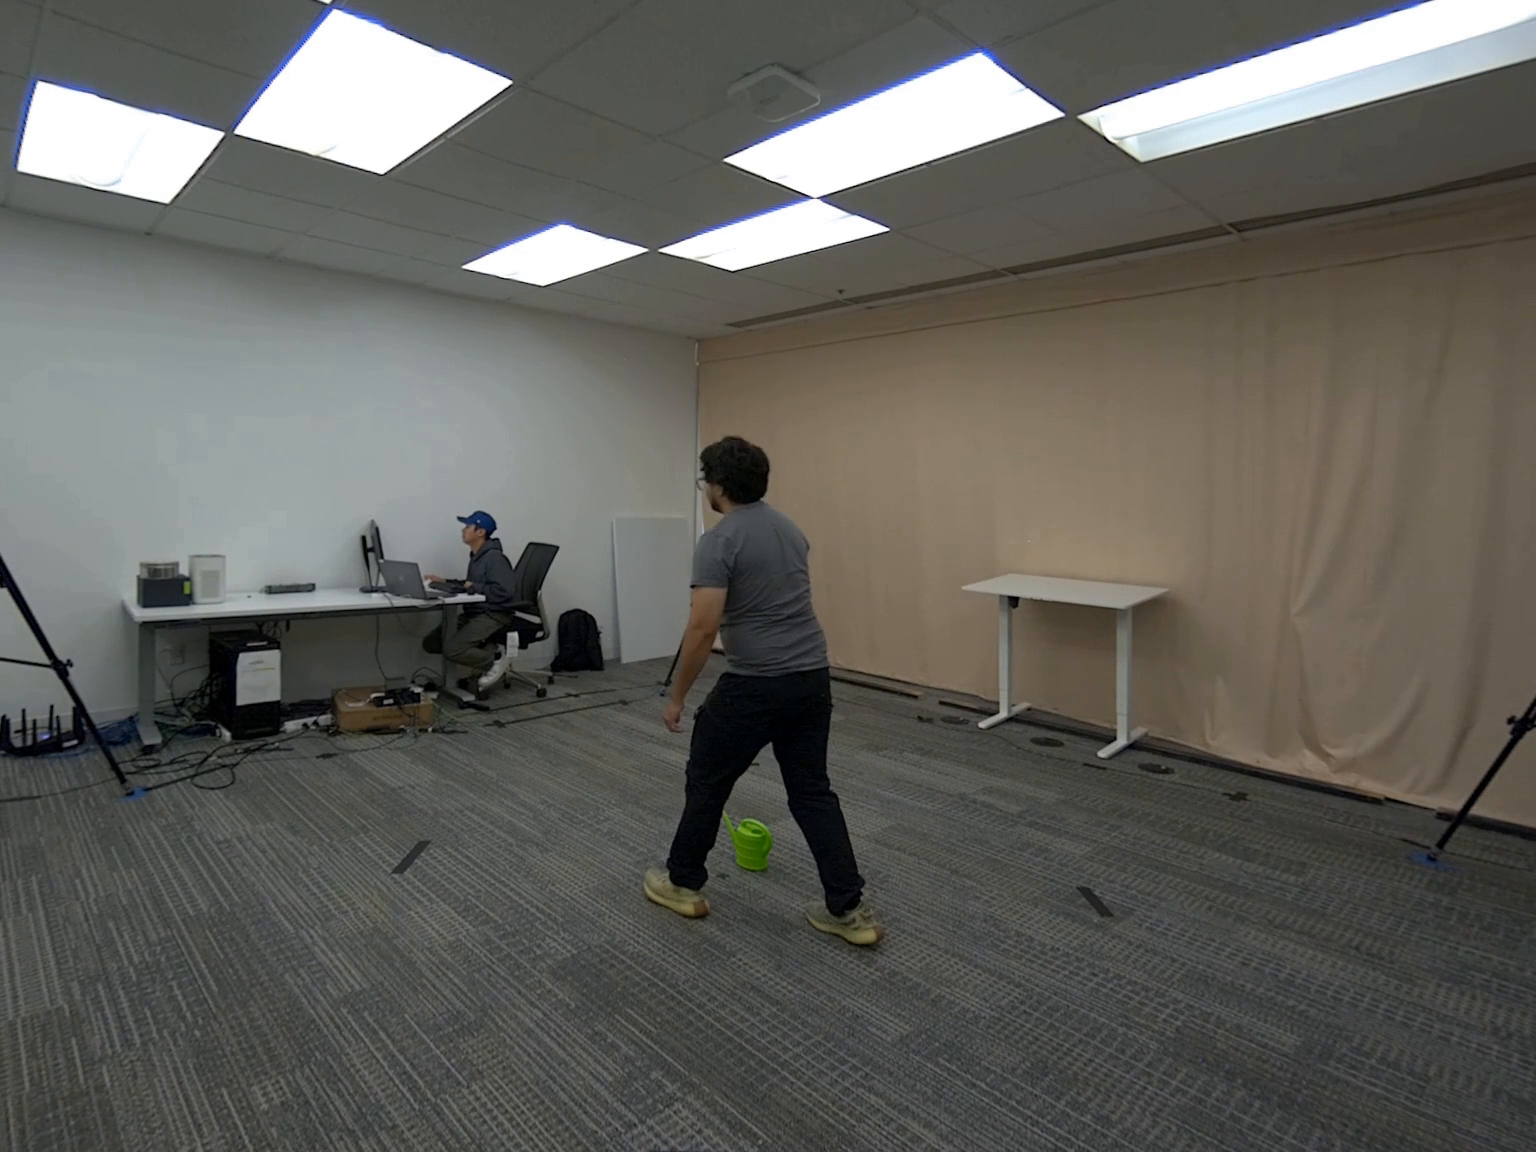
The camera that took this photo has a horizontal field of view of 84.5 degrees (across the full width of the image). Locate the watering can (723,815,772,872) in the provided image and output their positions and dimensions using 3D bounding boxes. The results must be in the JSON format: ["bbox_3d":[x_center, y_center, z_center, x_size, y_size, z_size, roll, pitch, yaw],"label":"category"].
[{"bbox_3d":[-0.092,1.005,3.232,0.096,0.176,0.285,1,5,-34],"label":"watering can"}]
